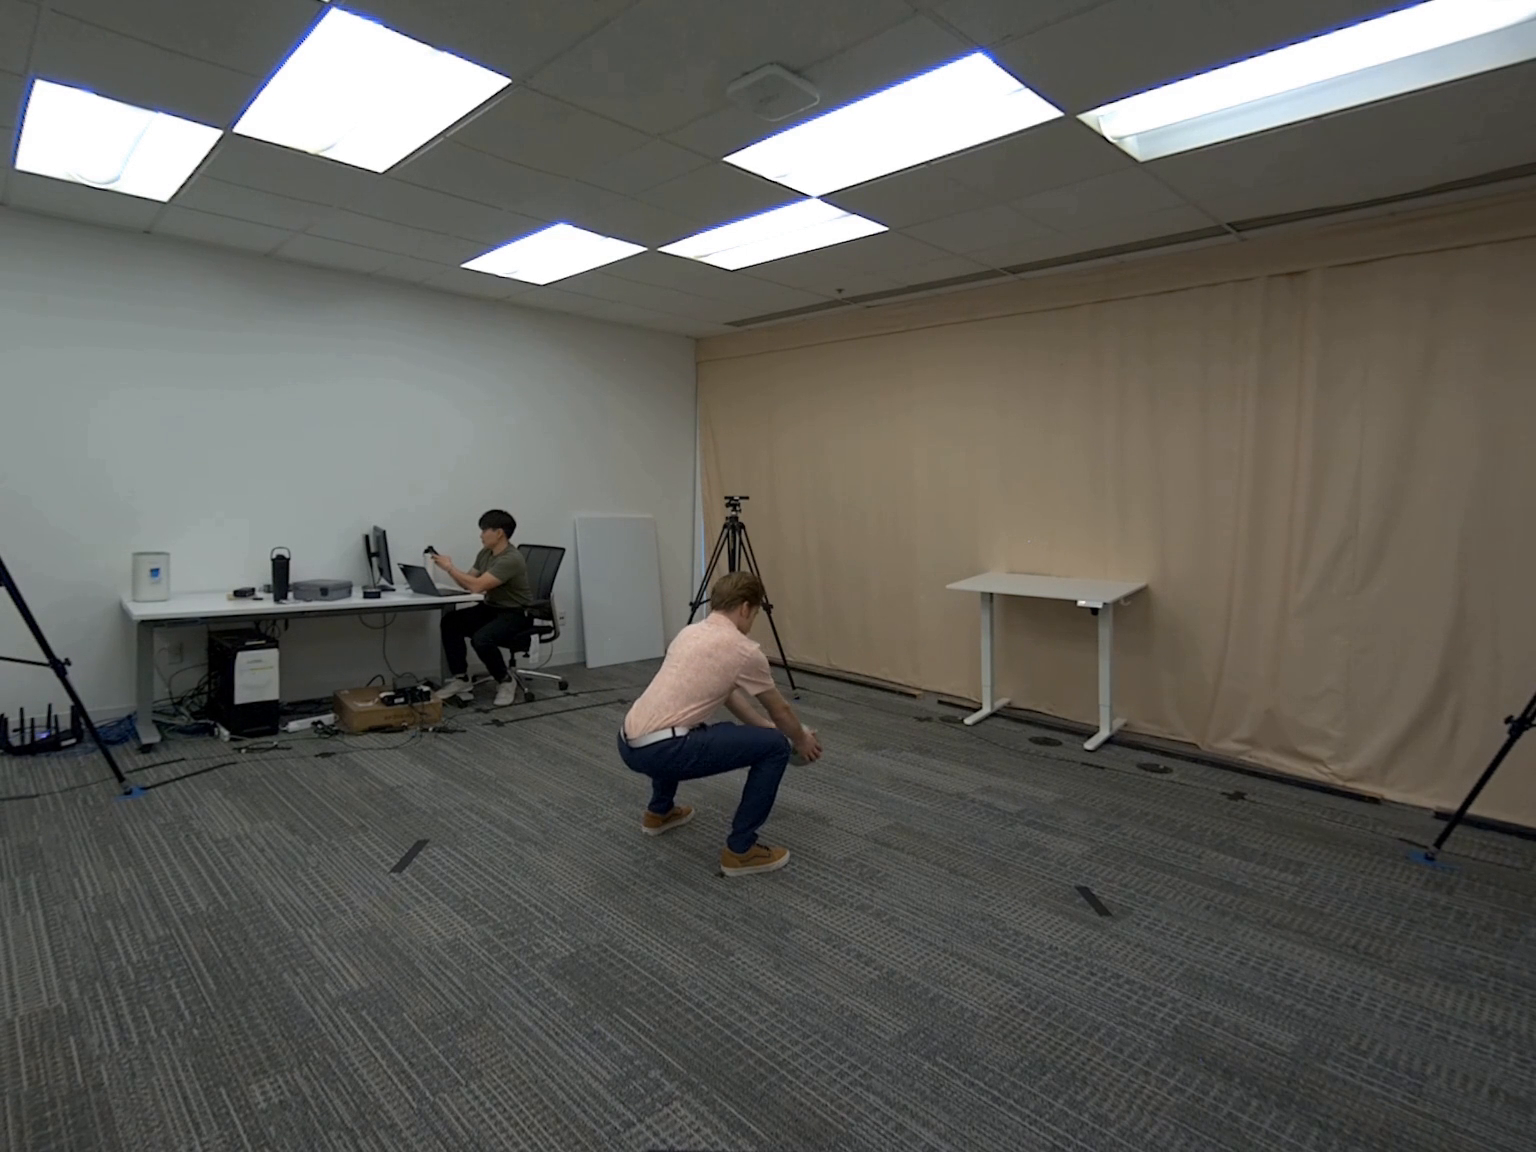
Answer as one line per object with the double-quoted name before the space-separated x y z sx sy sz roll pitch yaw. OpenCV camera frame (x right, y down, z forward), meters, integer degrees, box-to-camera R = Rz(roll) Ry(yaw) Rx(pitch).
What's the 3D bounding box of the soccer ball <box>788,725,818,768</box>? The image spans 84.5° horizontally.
"soccer ball" 0.126 0.743 3.699 0.187 0.187 0.188 1 4 -1
